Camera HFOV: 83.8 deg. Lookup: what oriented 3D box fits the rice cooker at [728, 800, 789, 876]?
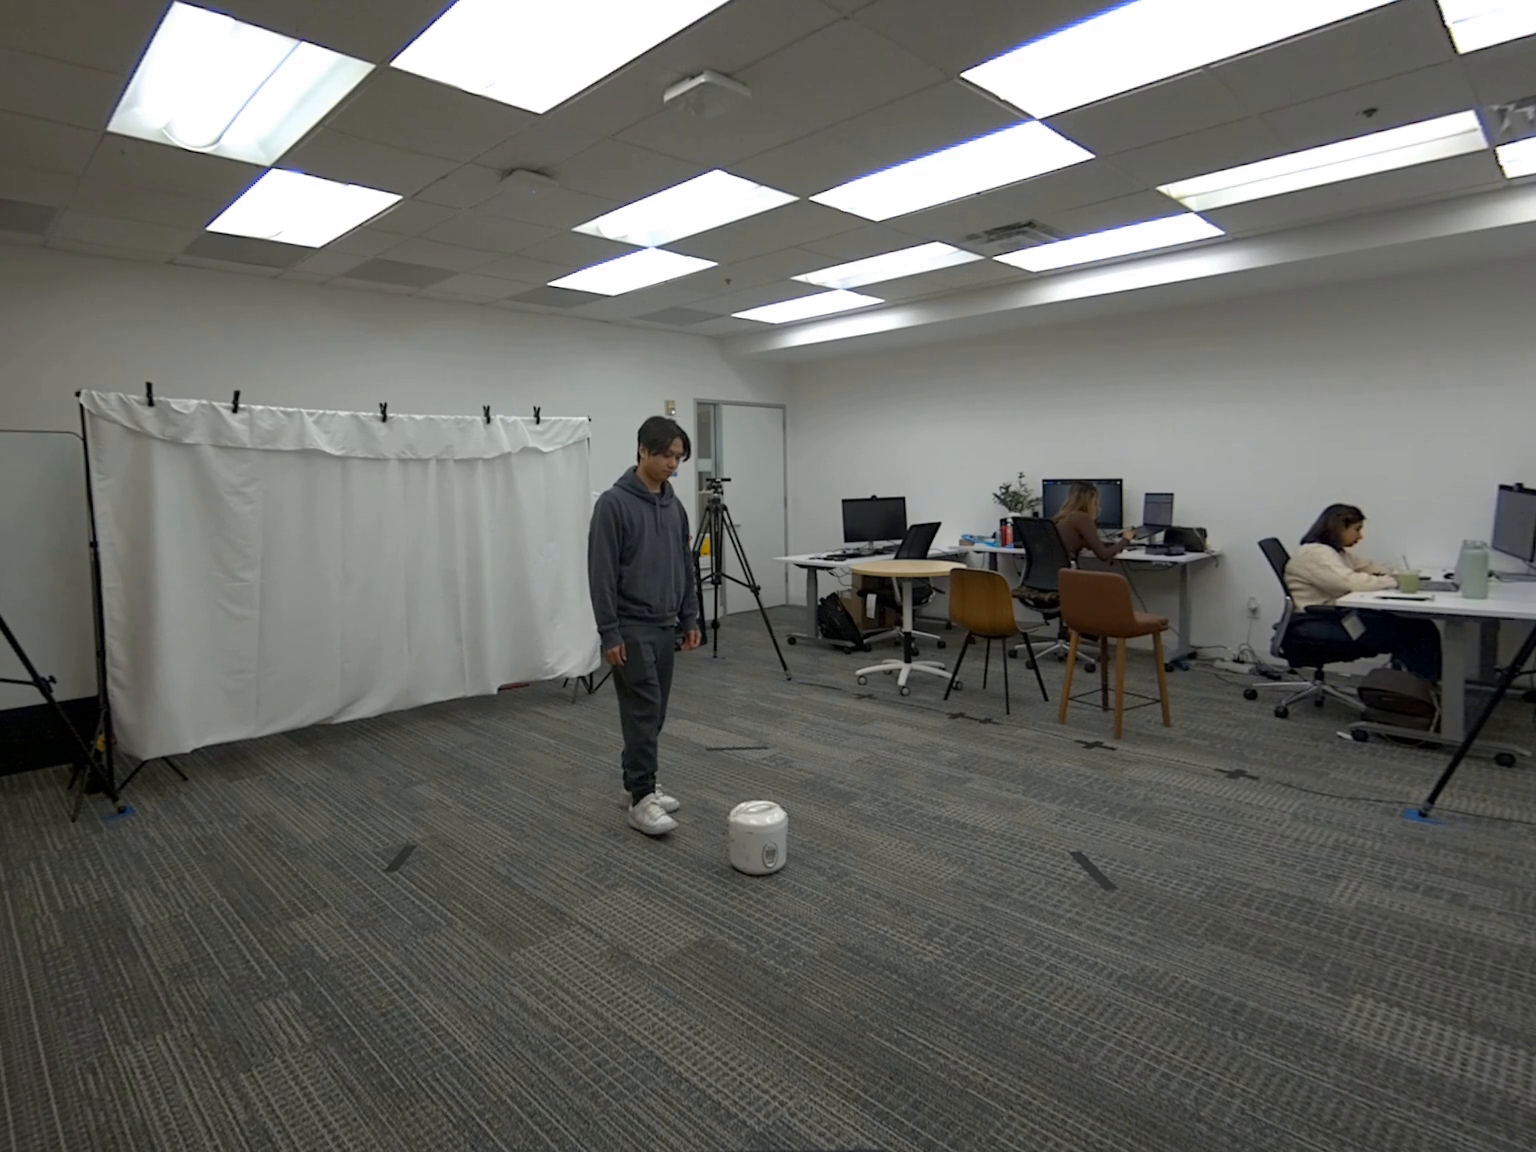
[{"bbox_3d":[-0.032,0.927,3.082,0.216,0.232,0.222,-3,4,-23],"label":"rice cooker"}]
